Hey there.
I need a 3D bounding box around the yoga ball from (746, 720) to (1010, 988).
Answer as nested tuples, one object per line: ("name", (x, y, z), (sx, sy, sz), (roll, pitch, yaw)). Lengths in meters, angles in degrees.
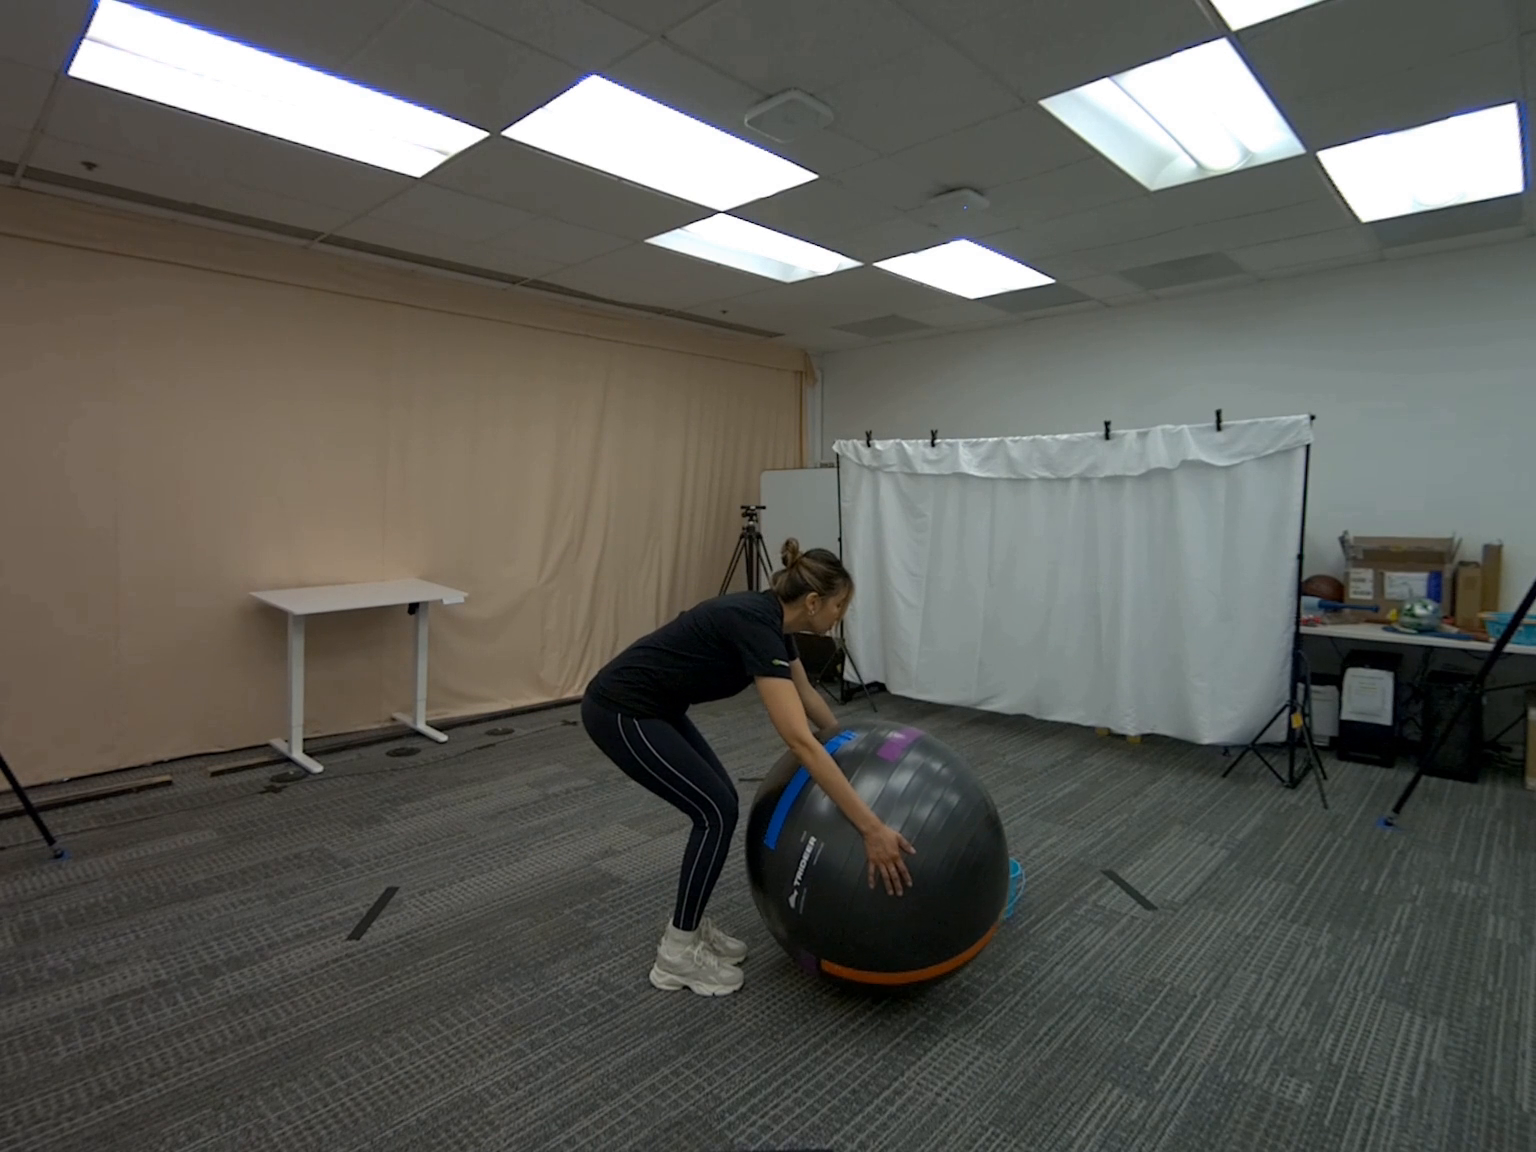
("yoga ball", (0.317, 0.812, 2.480), (0.757, 0.756, 0.761), (0, 4, -2))
